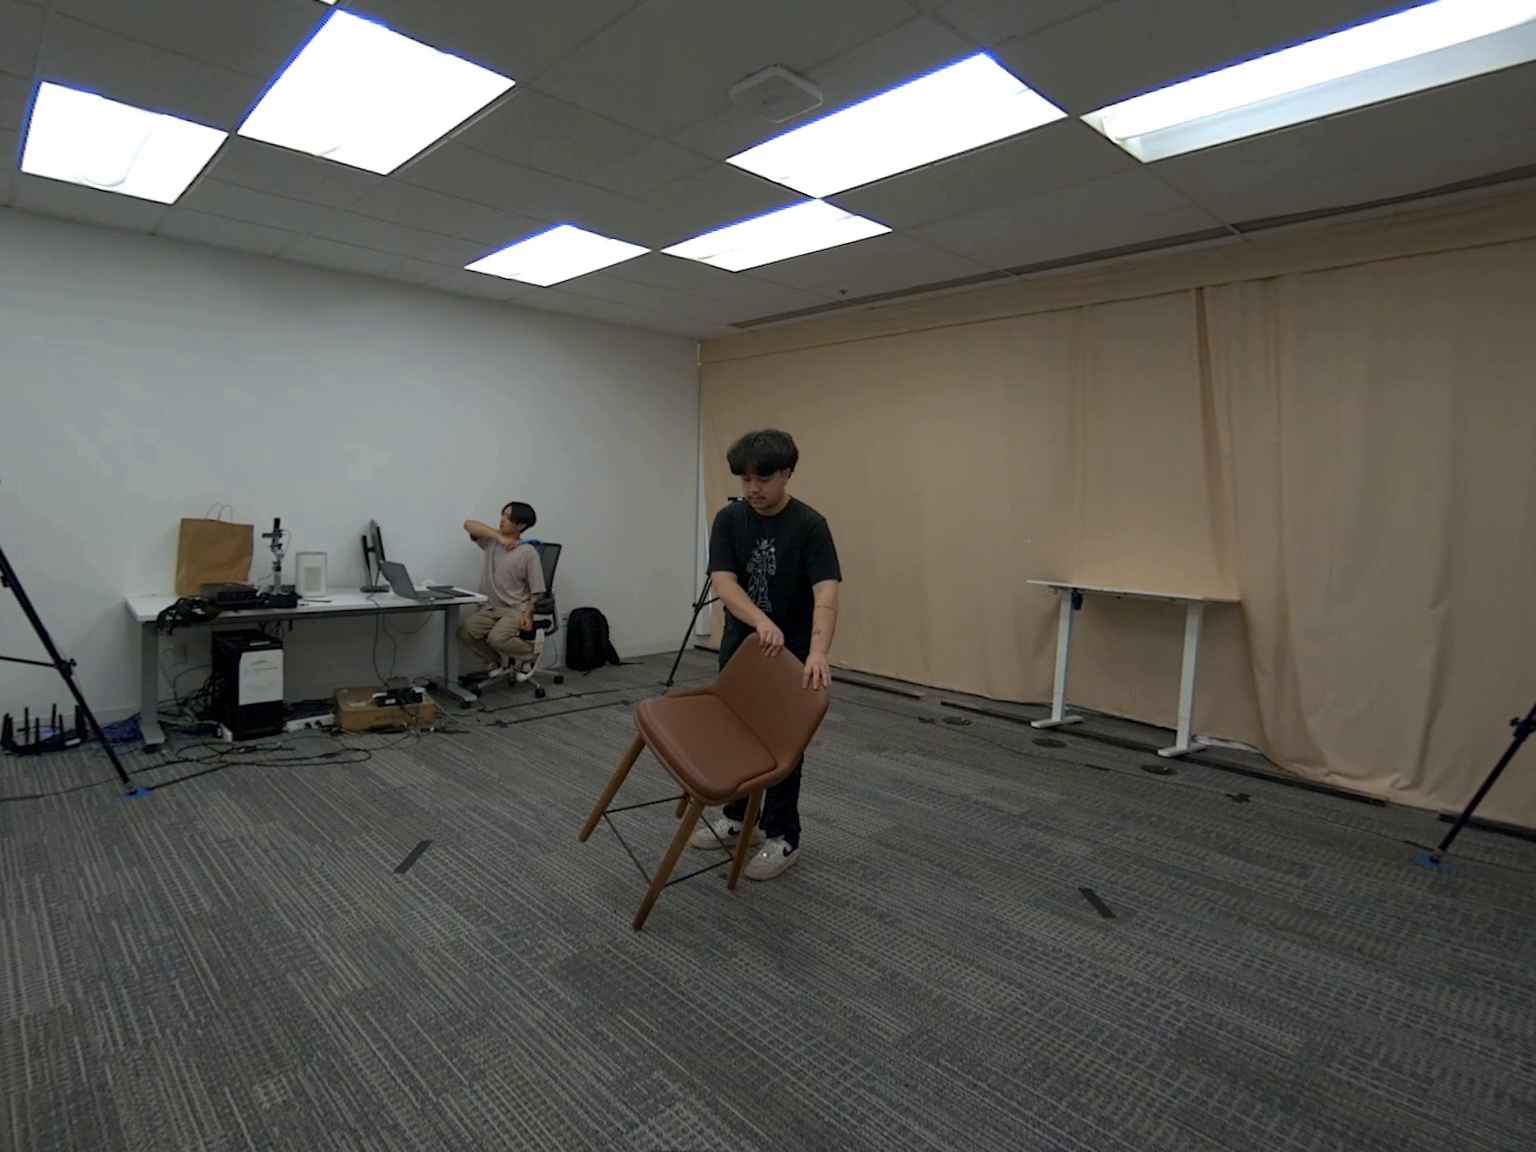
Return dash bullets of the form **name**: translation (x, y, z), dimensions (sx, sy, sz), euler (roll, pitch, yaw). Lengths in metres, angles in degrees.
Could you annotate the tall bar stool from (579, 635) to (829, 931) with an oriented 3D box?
- **tall bar stool**: translation (-0.229, 0.664, 2.802), dimensions (0.456, 0.883, 0.471), euler (2, 30, -44)
